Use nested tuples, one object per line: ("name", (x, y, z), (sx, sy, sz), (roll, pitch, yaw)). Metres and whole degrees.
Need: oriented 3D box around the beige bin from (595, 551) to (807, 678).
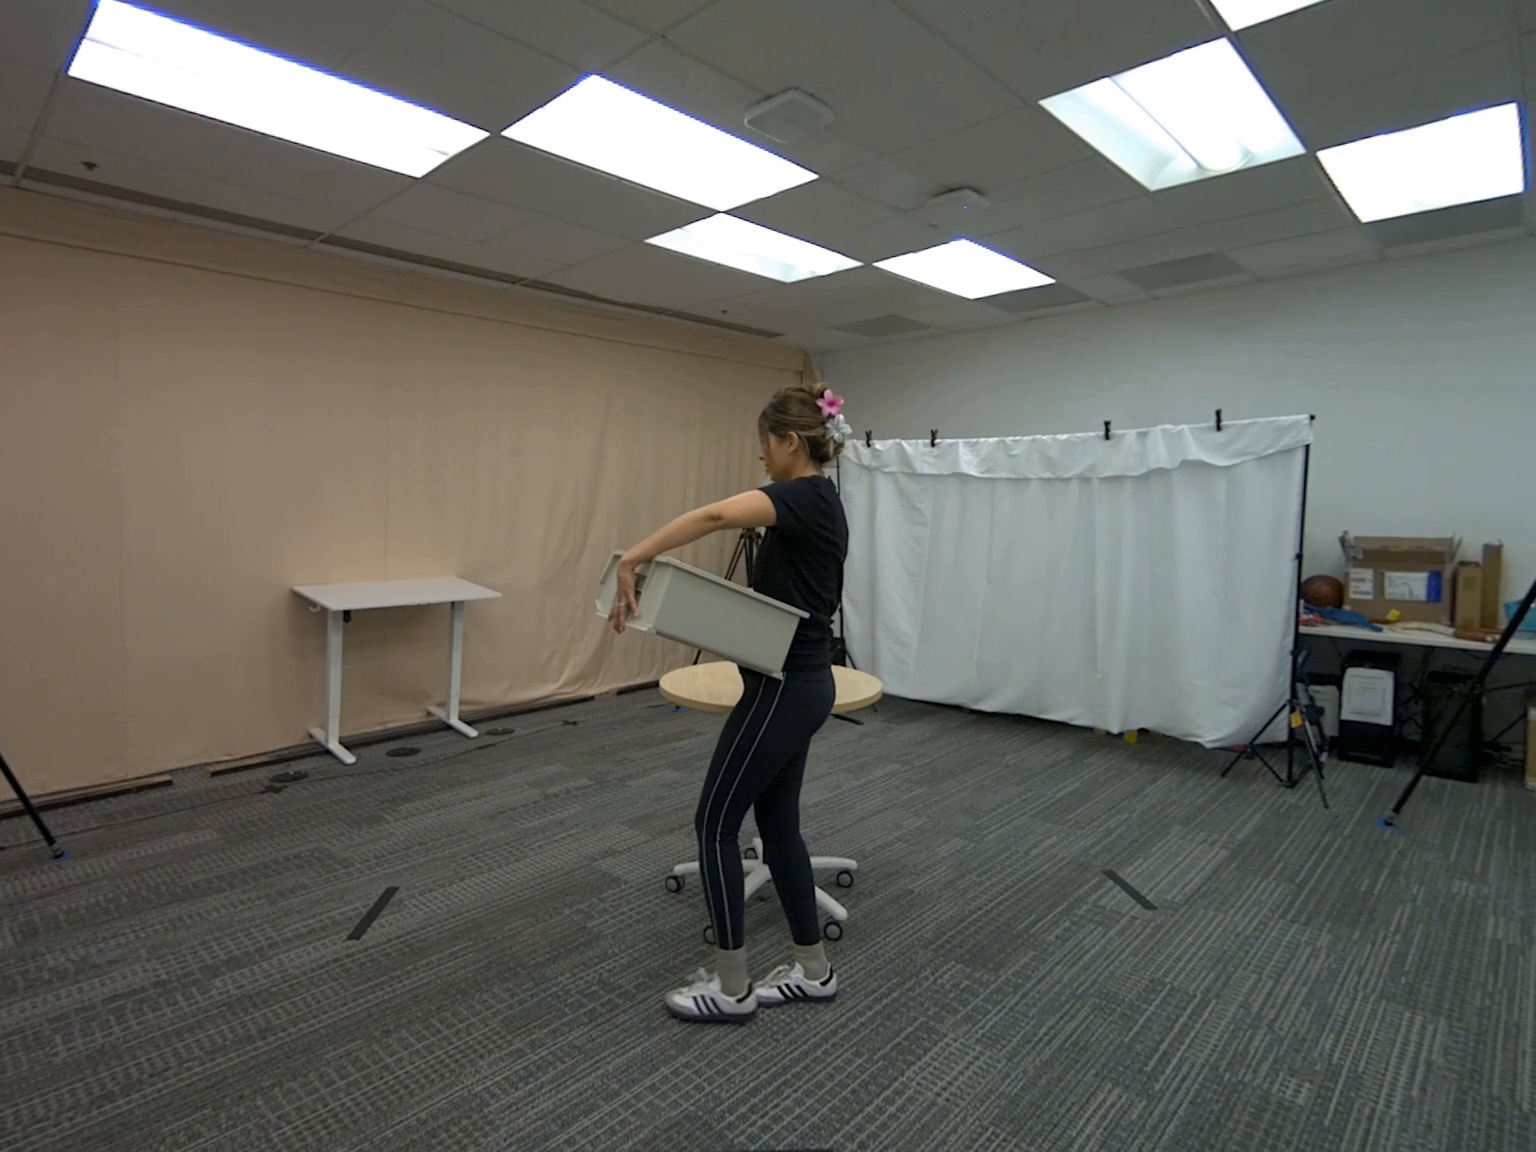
("beige bin", (-0.188, 0.096, 2.181), (0.409, 0.189, 0.389), (23, -7, -31))
